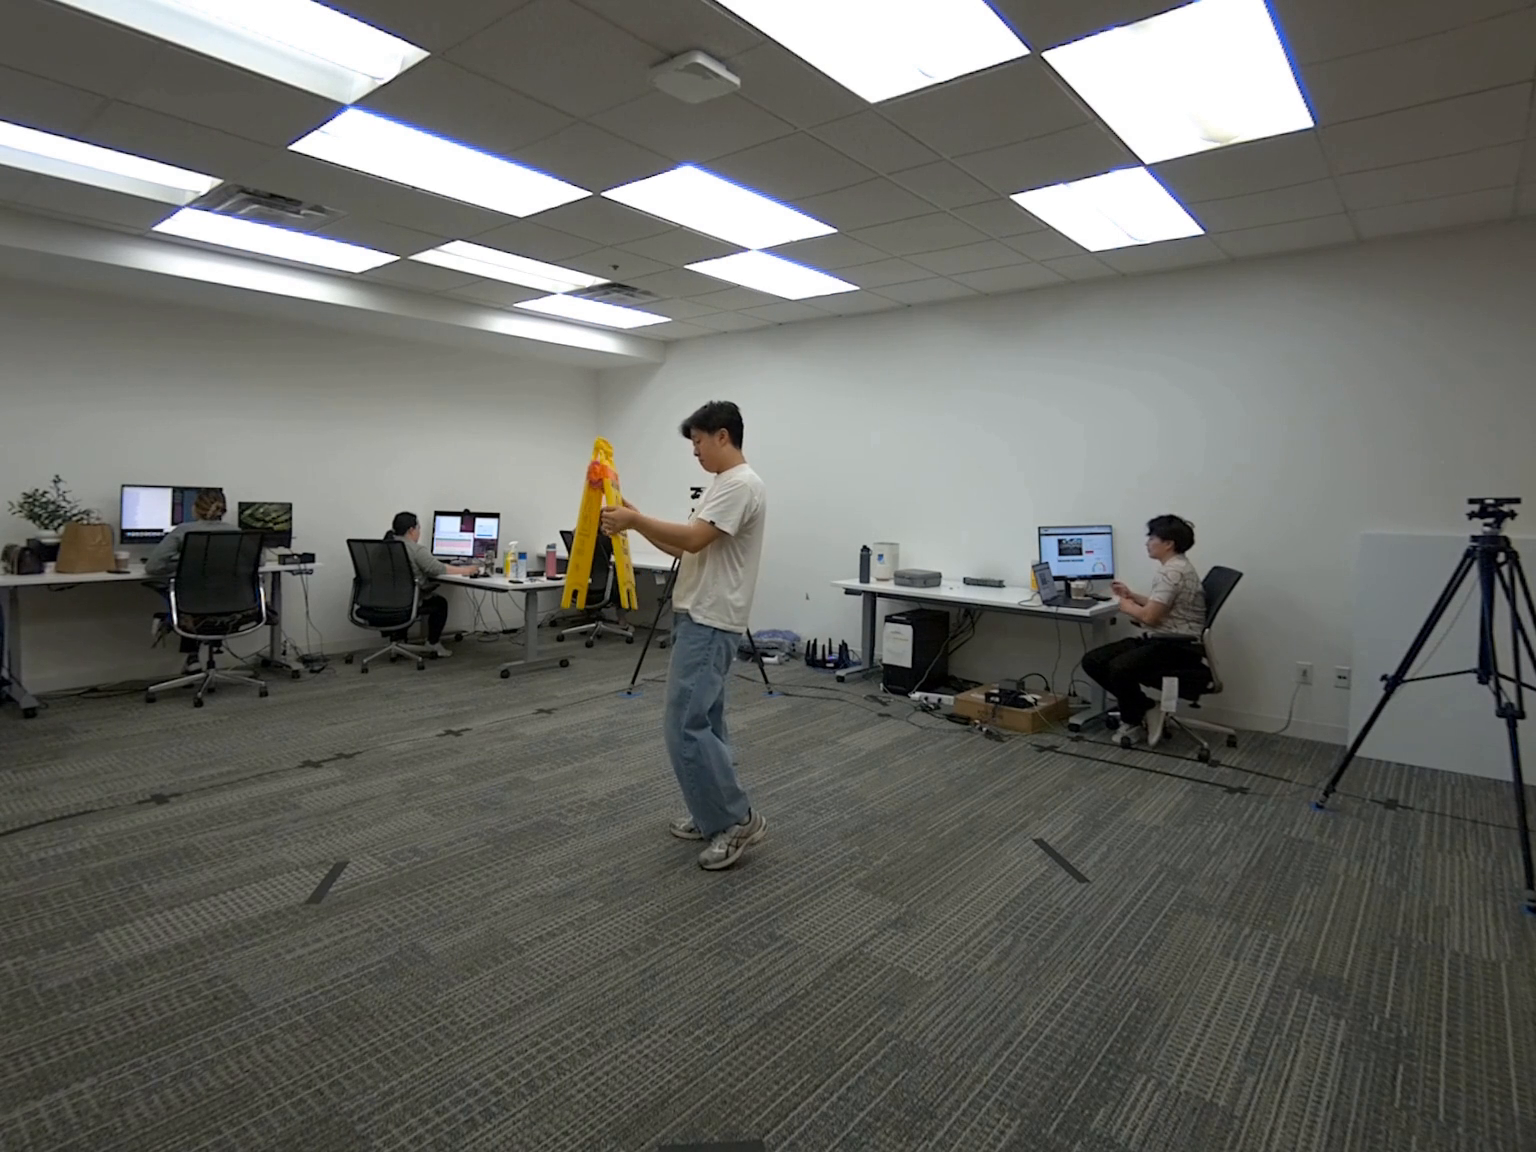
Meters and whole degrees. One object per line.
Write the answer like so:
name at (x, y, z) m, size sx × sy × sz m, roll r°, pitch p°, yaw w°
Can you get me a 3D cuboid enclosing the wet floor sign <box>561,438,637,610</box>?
wet floor sign at (-0.648, -0.205, 3.284) m, size 0.291 × 0.648 × 0.280 m, roll 0°, pitch -3°, yaw 5°
